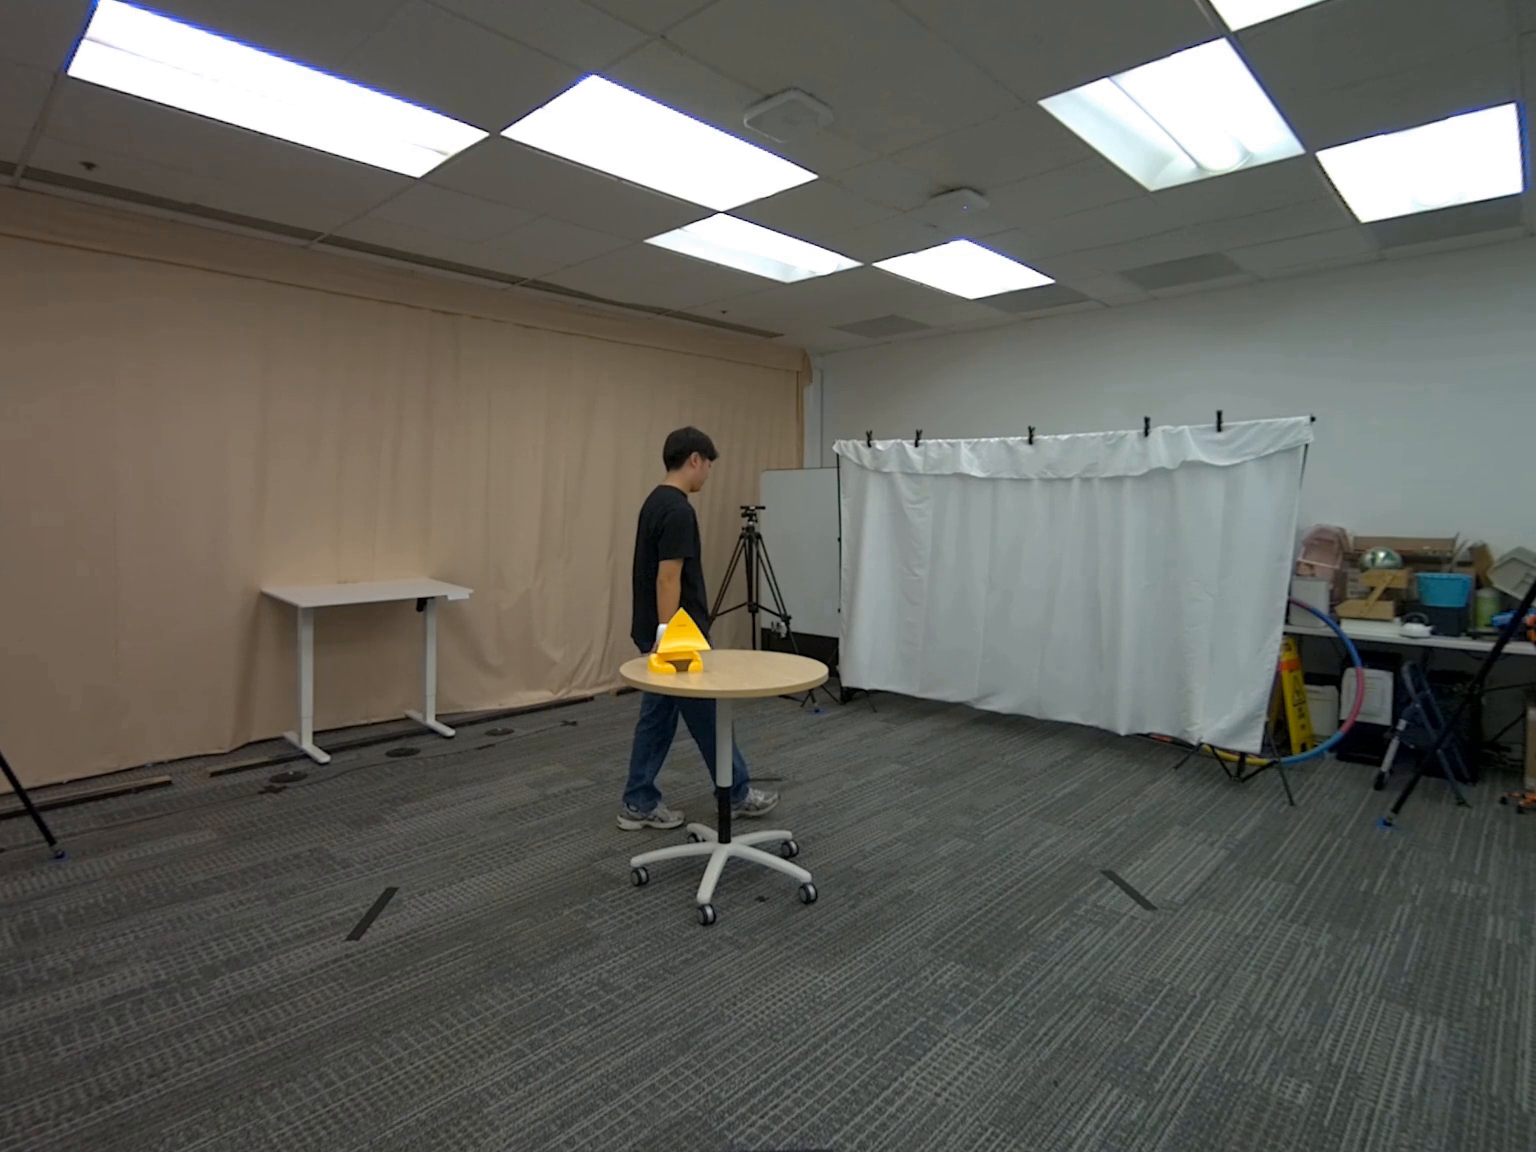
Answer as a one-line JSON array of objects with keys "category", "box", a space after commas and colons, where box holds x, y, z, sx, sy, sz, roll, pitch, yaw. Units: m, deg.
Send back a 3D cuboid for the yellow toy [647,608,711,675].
[{"category": "yellow toy", "box": [-0.337, 0.224, 3.080, 0.200, 0.230, 0.198, -2, 5, -24]}]
